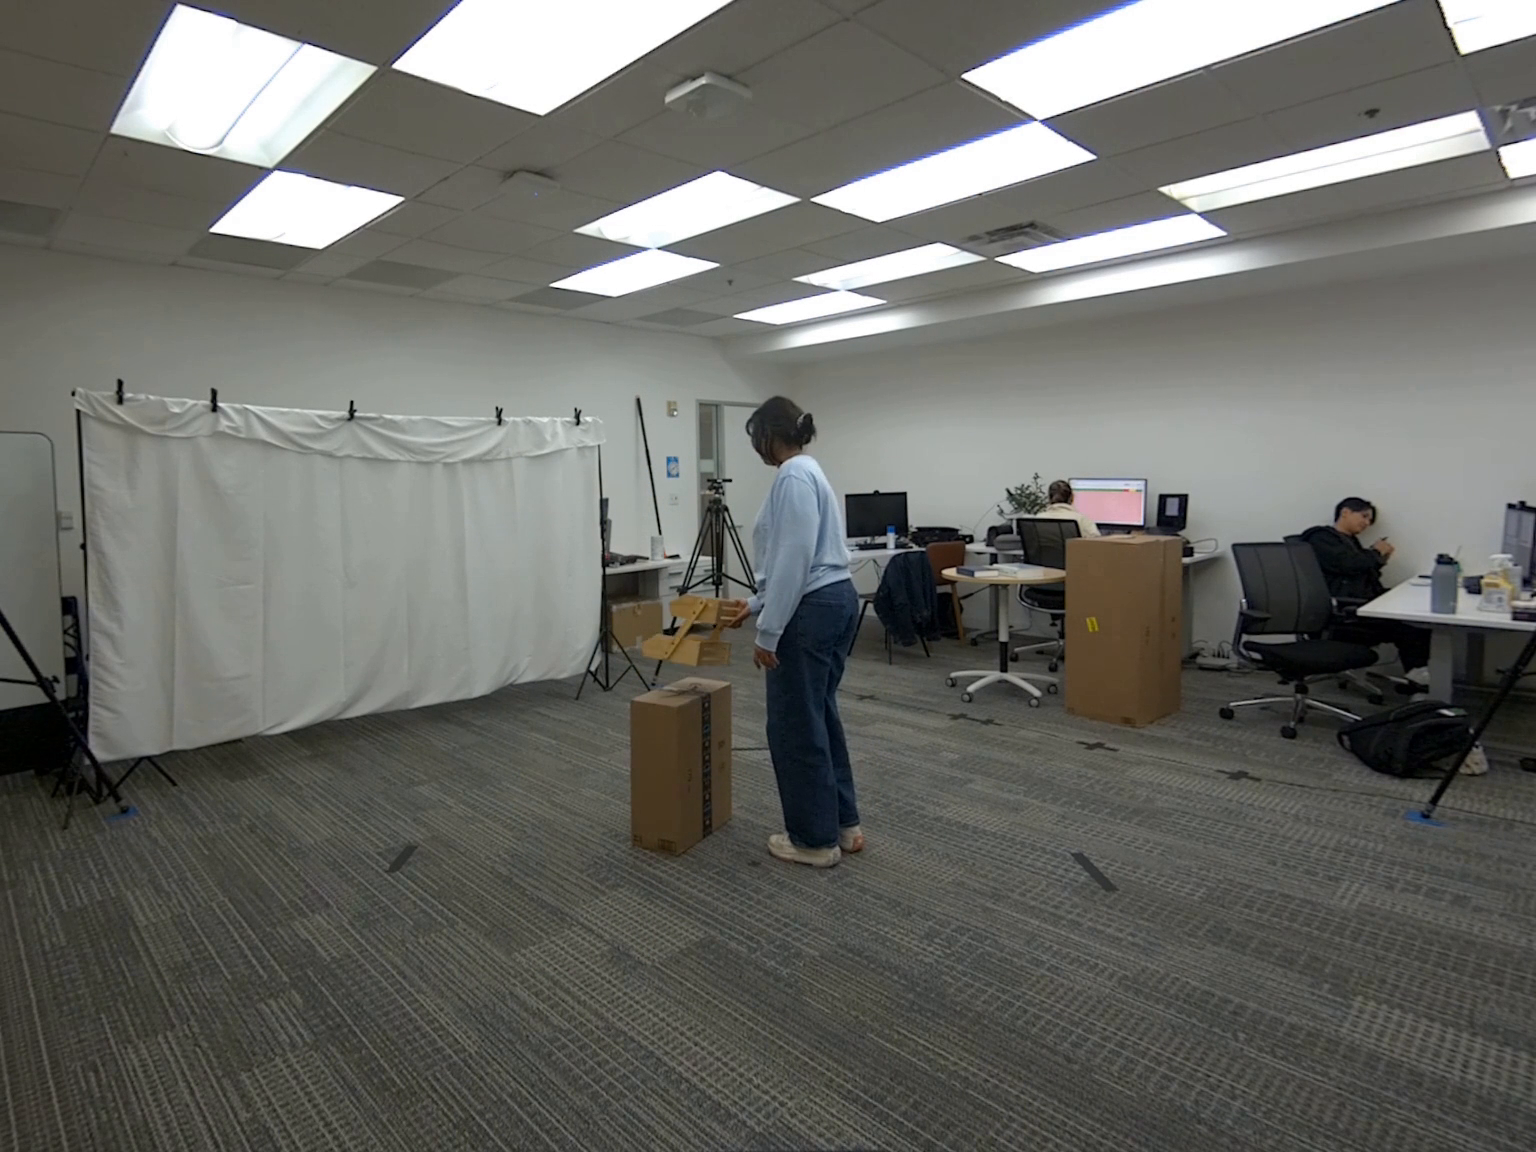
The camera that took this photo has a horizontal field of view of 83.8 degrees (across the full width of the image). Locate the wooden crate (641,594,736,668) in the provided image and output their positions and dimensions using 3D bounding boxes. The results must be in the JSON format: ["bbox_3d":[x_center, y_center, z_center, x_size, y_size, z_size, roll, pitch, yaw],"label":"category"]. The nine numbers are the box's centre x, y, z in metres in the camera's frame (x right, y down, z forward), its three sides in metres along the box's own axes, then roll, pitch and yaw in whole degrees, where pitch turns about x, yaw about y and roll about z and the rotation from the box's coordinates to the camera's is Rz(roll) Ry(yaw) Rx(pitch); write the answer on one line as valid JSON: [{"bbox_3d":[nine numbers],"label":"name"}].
[{"bbox_3d":[-0.283,0.205,3.391,0.309,0.274,0.316,8,-1,23],"label":"wooden crate"}]
